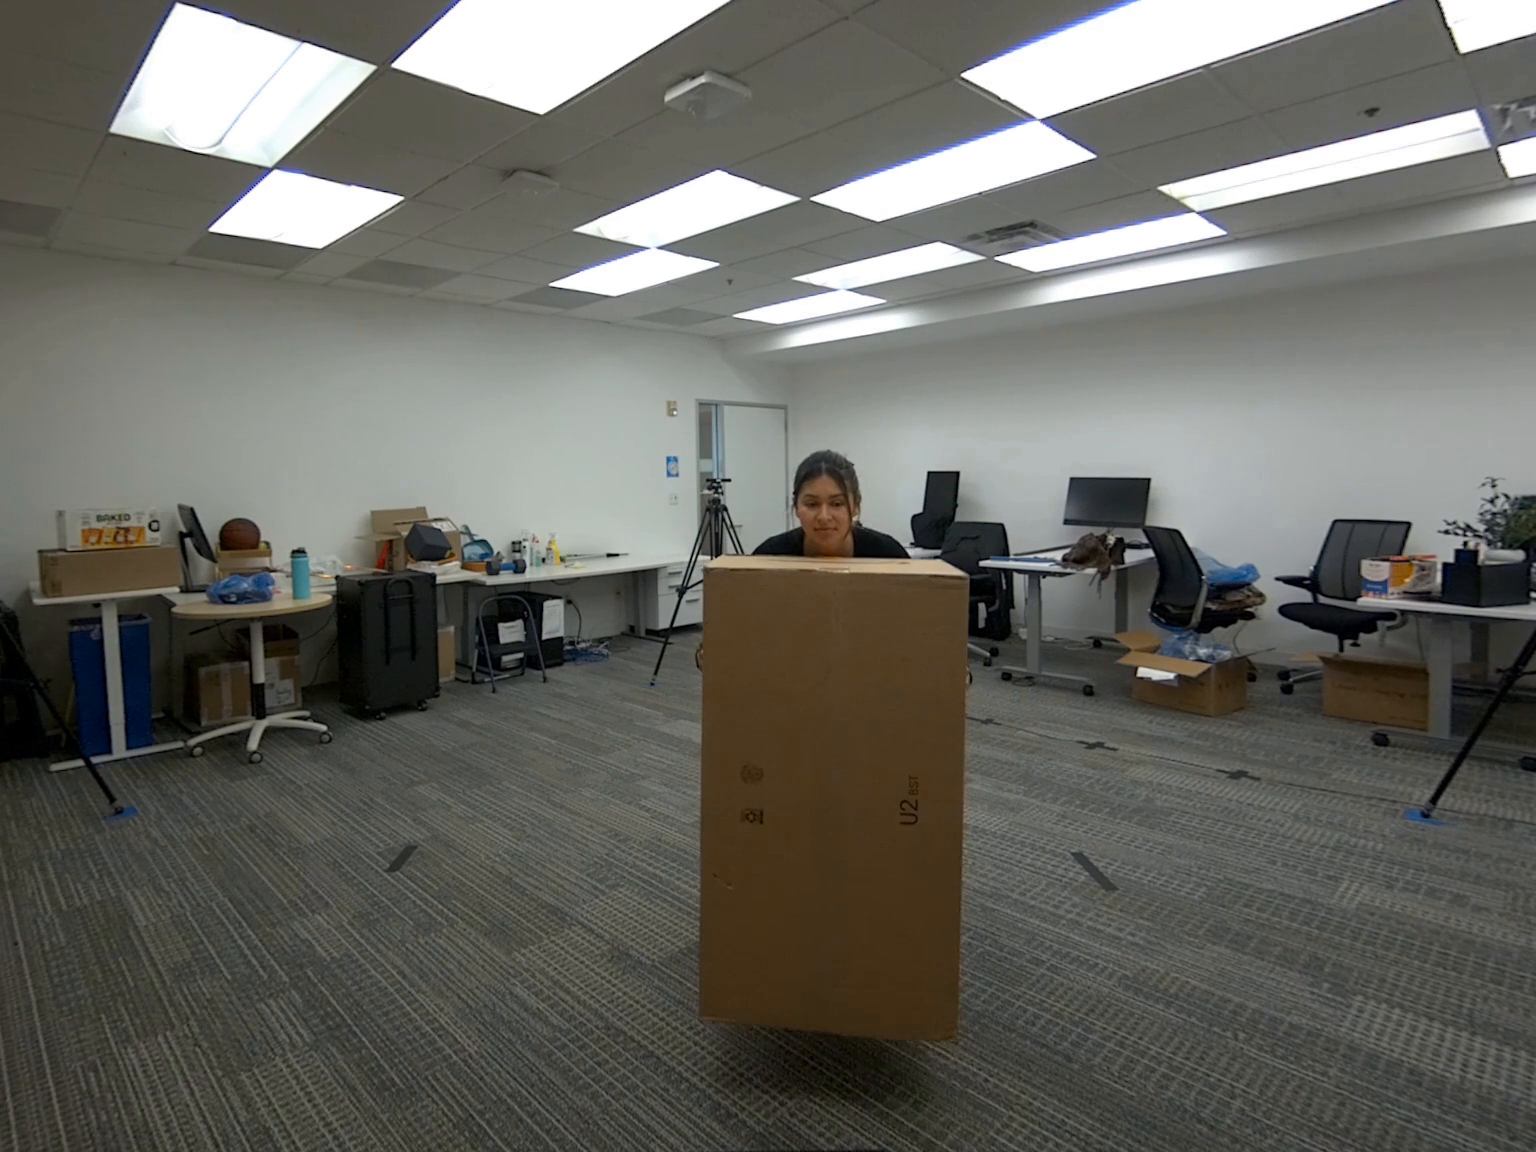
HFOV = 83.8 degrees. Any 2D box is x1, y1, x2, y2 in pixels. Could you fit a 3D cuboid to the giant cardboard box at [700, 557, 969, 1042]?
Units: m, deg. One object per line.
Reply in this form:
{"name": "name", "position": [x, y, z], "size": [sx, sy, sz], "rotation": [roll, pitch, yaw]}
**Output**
{"name": "giant cardboard box", "position": [0.153, 0.485, 2.060], "size": [0.580, 1.023, 0.425], "rotation": [1, 3, 4]}
